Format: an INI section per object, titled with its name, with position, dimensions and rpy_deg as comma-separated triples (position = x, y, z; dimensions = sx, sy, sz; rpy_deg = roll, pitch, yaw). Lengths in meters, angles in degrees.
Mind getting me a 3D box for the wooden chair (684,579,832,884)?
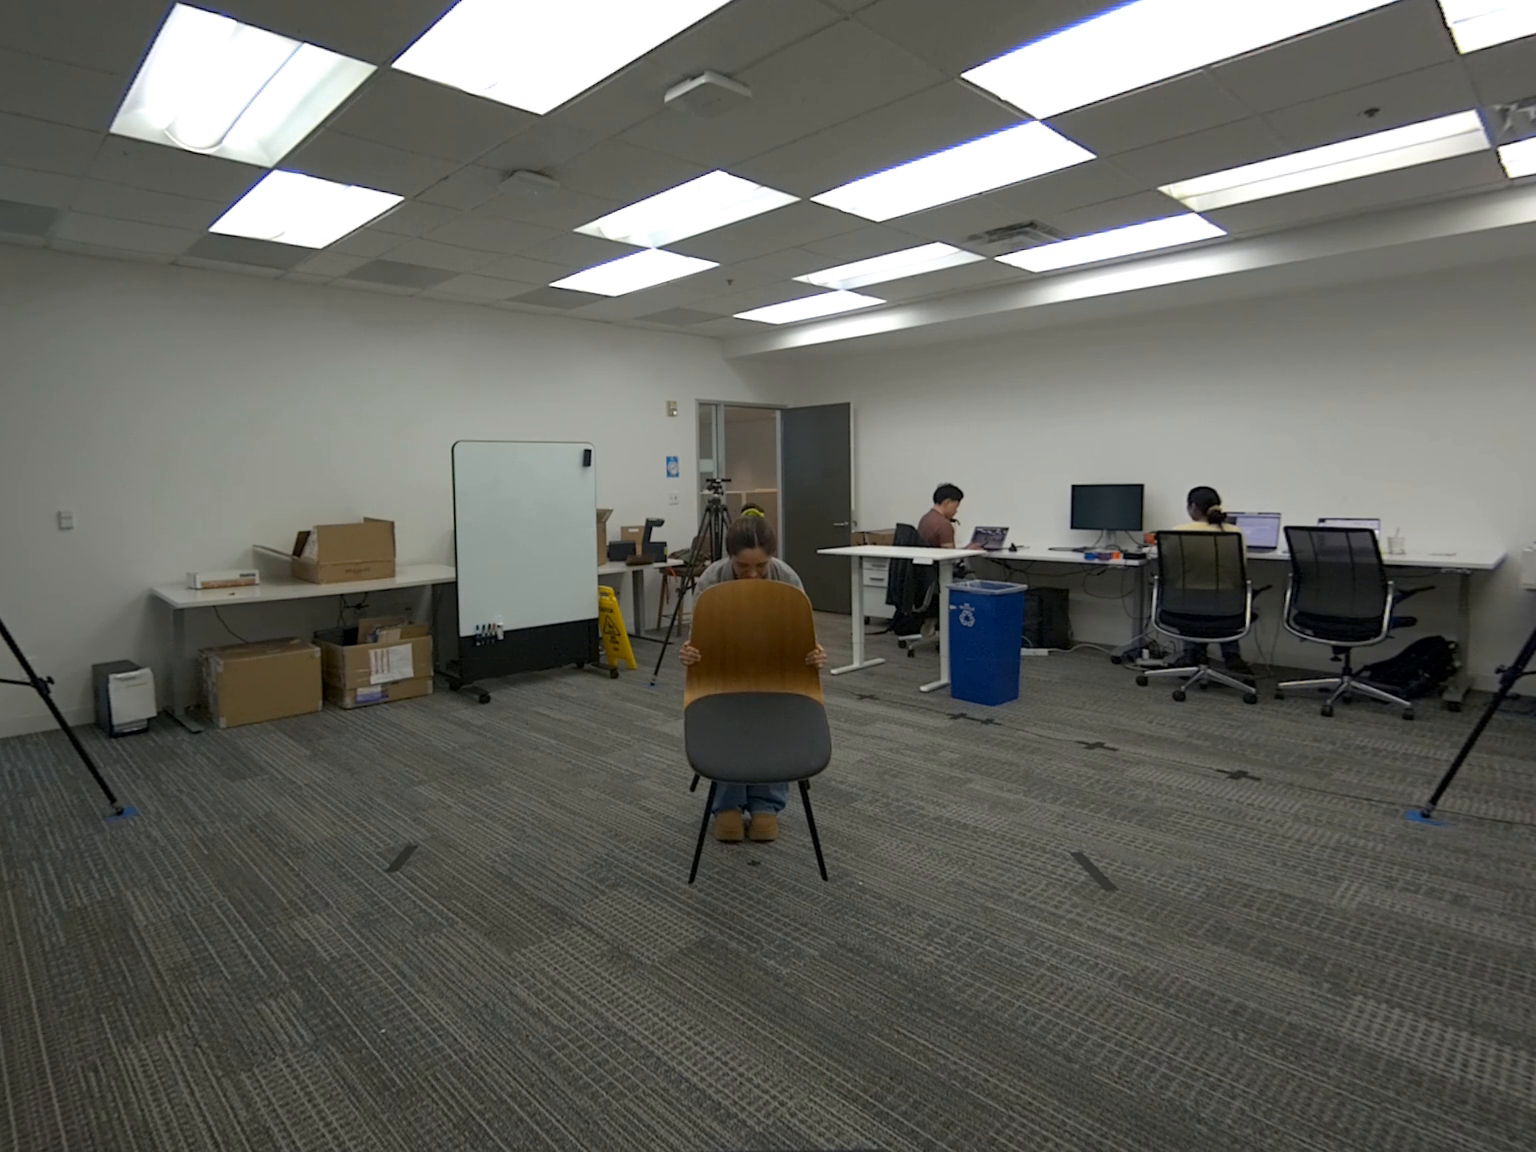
[wooden chair]
position = -0.046, 0.517, 2.792
dimensions = 0.477, 0.863, 0.533
rpy_deg = -1, 19, -3
